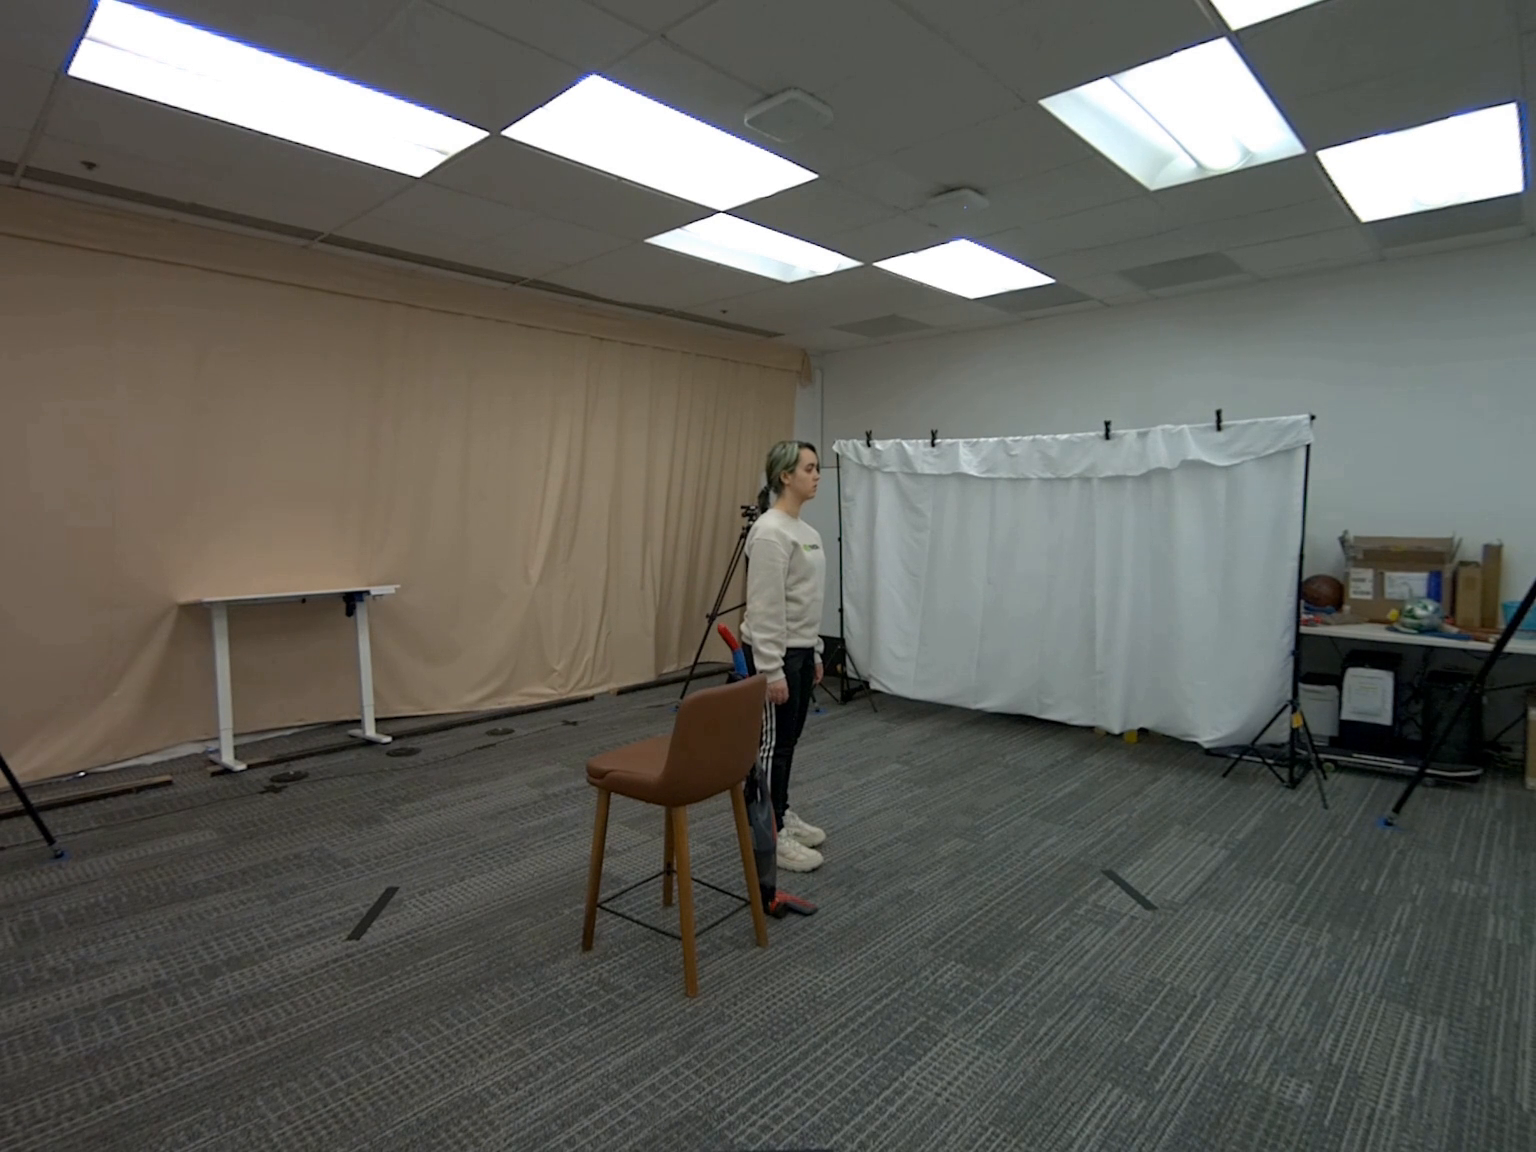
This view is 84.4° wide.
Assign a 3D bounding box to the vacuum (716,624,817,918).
[{"bbox_3d":[-0.060,0.654,2.801,0.141,1.037,0.261,-22,18,-39],"label":"vacuum"}]
